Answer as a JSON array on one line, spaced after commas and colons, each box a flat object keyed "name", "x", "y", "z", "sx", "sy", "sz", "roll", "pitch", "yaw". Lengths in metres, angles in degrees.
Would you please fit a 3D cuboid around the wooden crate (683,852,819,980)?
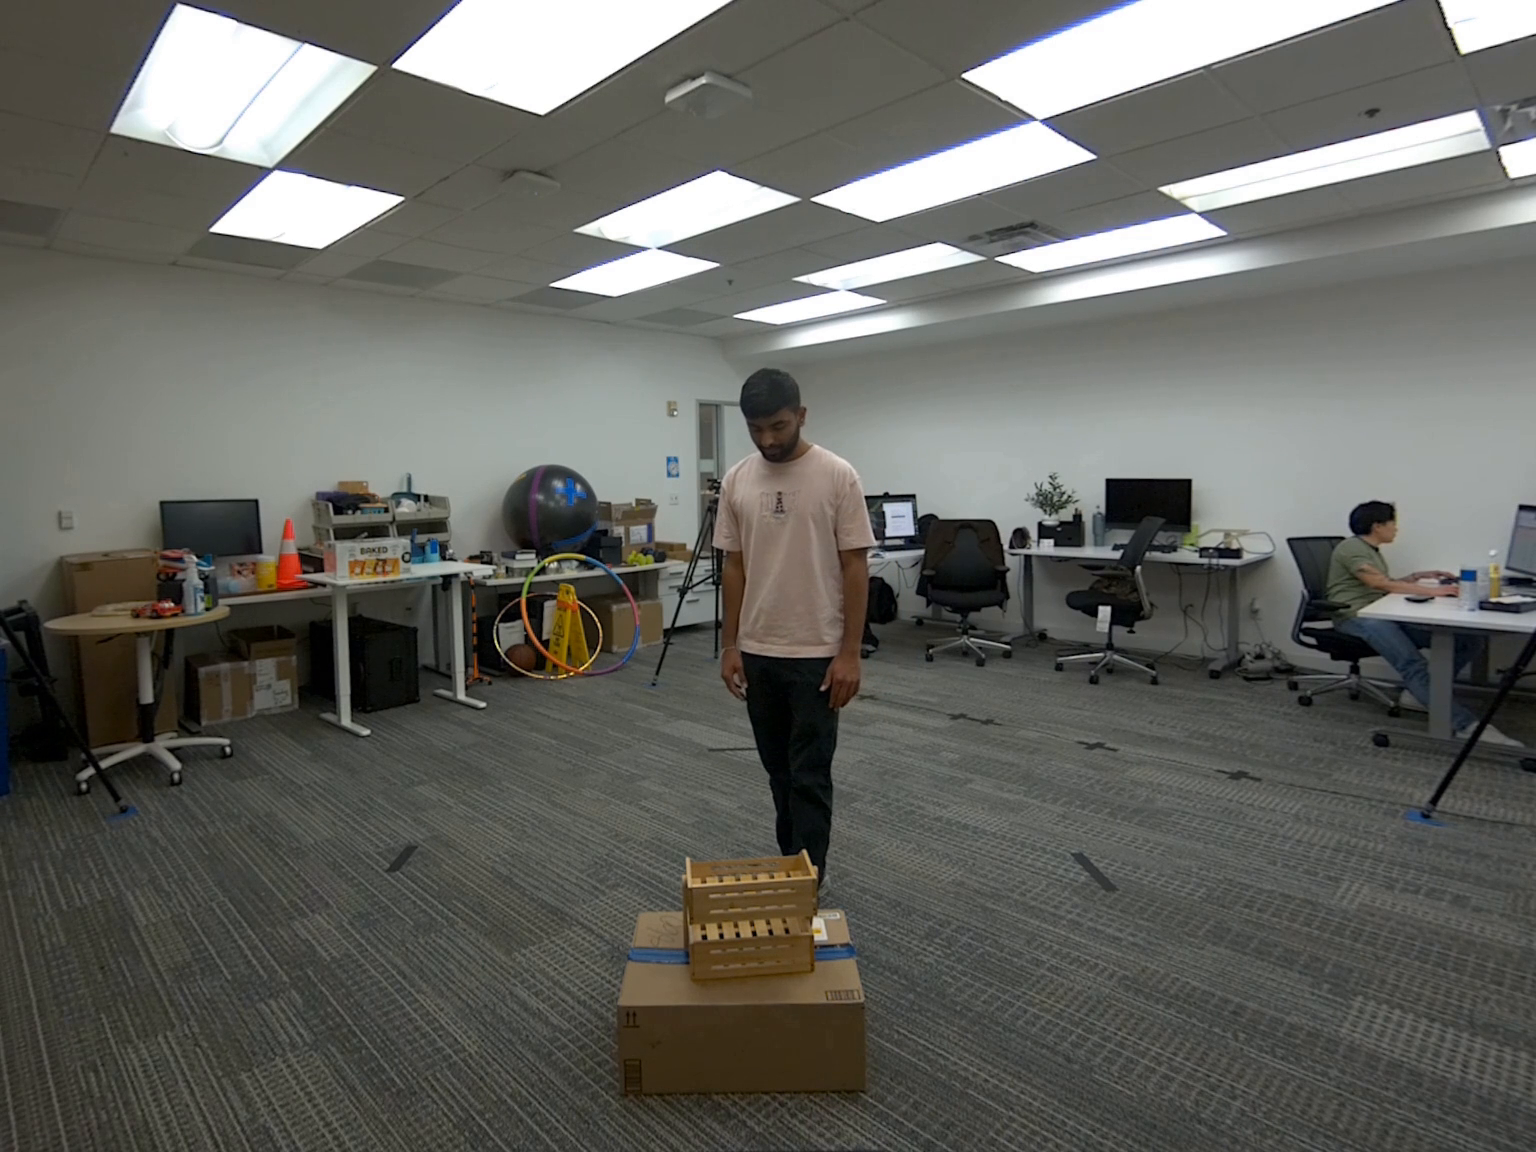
[{"name": "wooden crate", "x": -0.048, "y": 0.820, "z": 2.132, "sx": 0.322, "sy": 0.272, "sz": 0.306, "roll": -3, "pitch": 7, "yaw": -7}]
